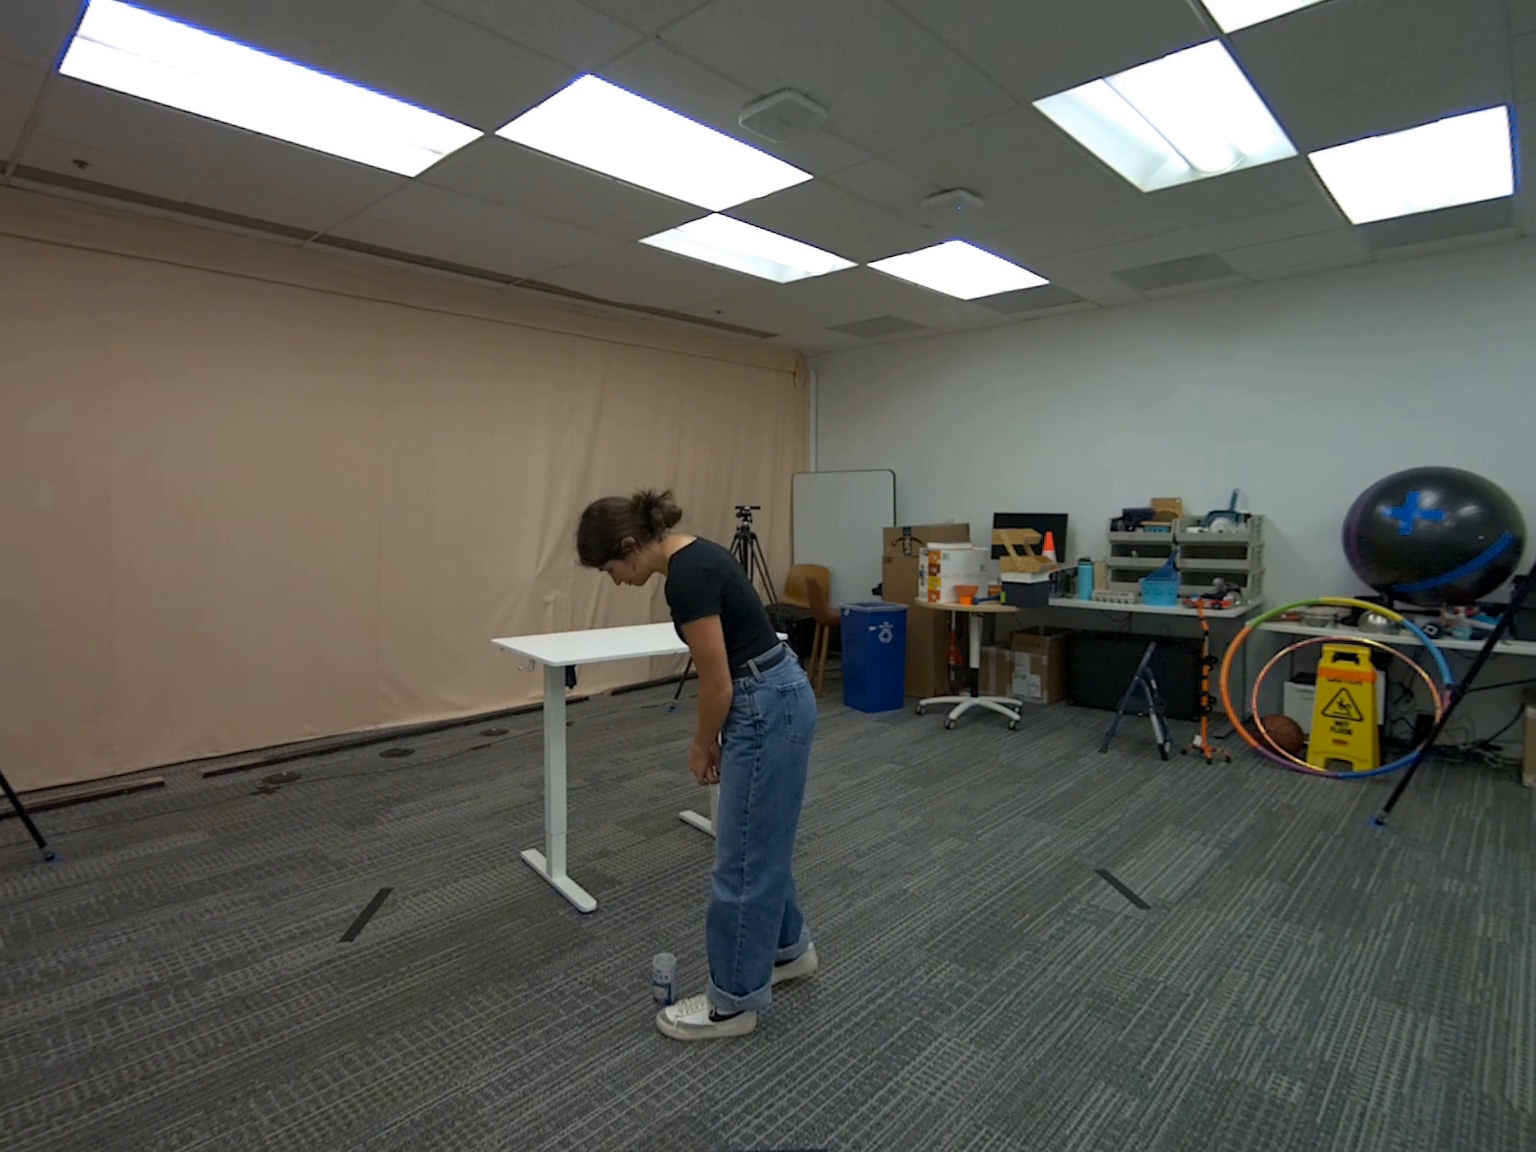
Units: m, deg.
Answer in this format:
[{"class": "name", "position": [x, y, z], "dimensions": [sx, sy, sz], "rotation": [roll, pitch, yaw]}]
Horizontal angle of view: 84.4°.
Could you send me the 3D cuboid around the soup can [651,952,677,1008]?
[{"class": "soup can", "position": [-0.291, 1.137, 2.384], "dimensions": [0.067, 0.121, 0.067], "rotation": [-2, -1, -2]}]
